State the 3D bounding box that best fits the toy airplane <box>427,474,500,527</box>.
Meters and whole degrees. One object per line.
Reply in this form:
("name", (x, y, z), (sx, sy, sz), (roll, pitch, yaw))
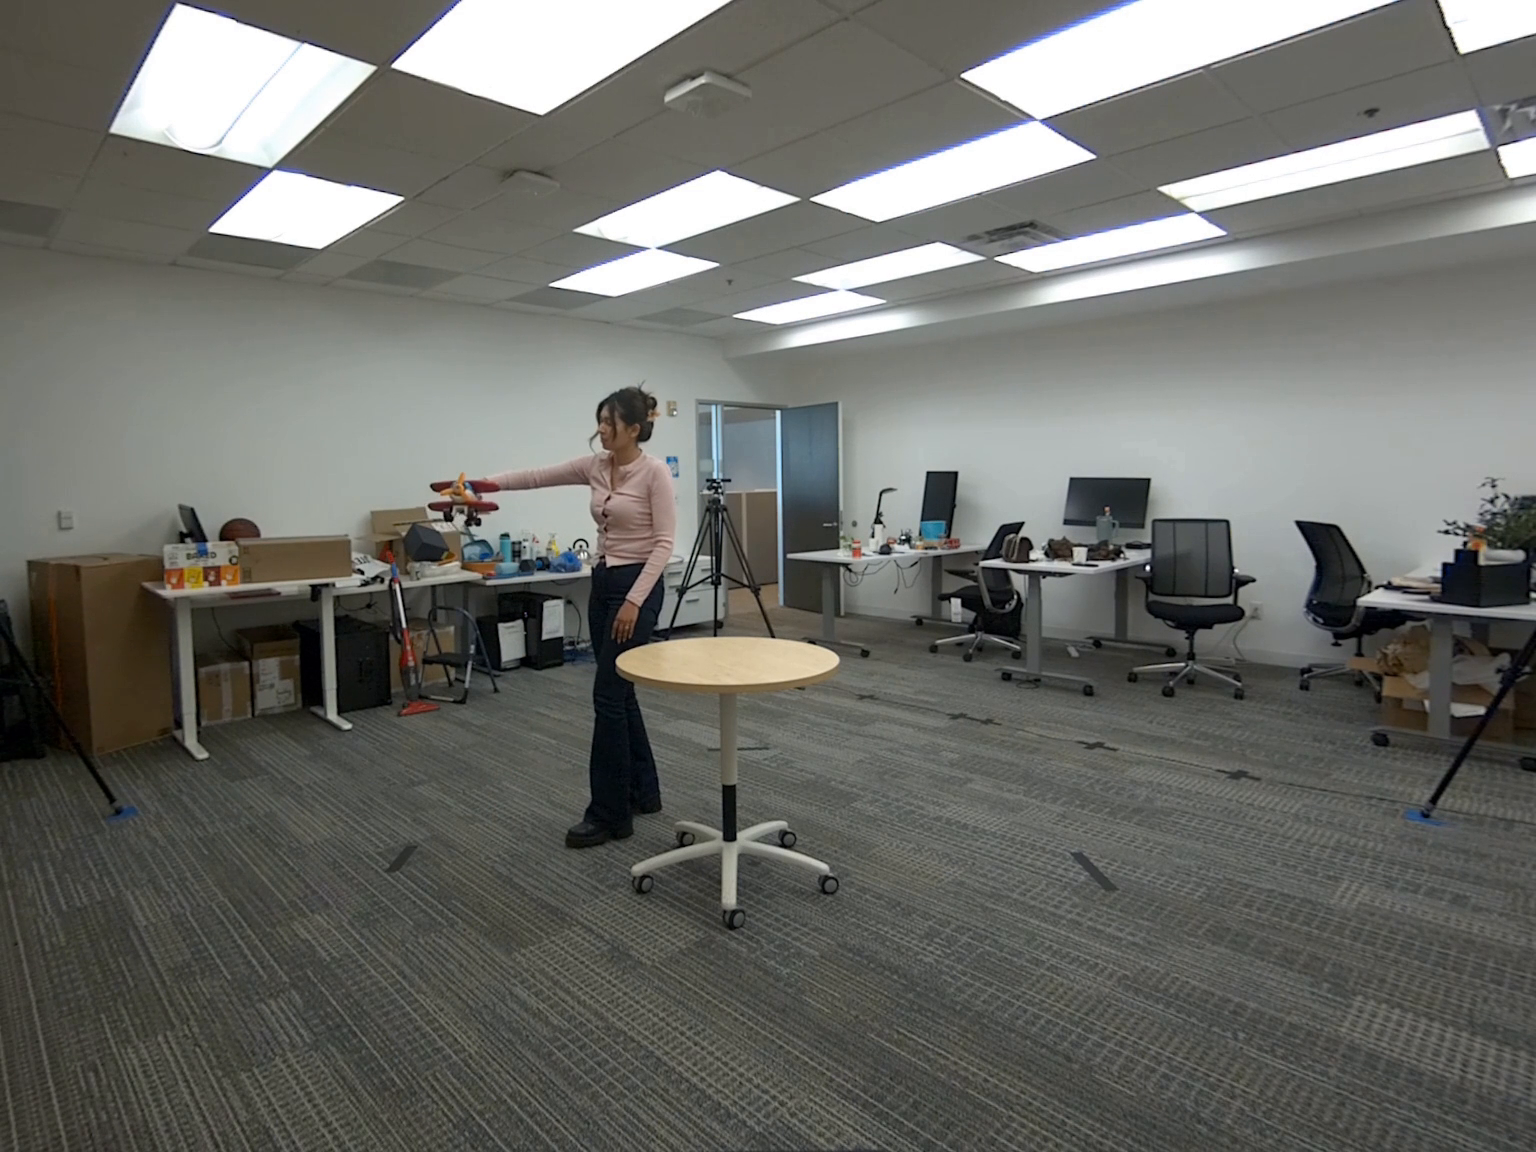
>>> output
("toy airplane", (-1.144, -0.265, 3.199), (0.245, 0.157, 0.264), (1, -3, -29))
